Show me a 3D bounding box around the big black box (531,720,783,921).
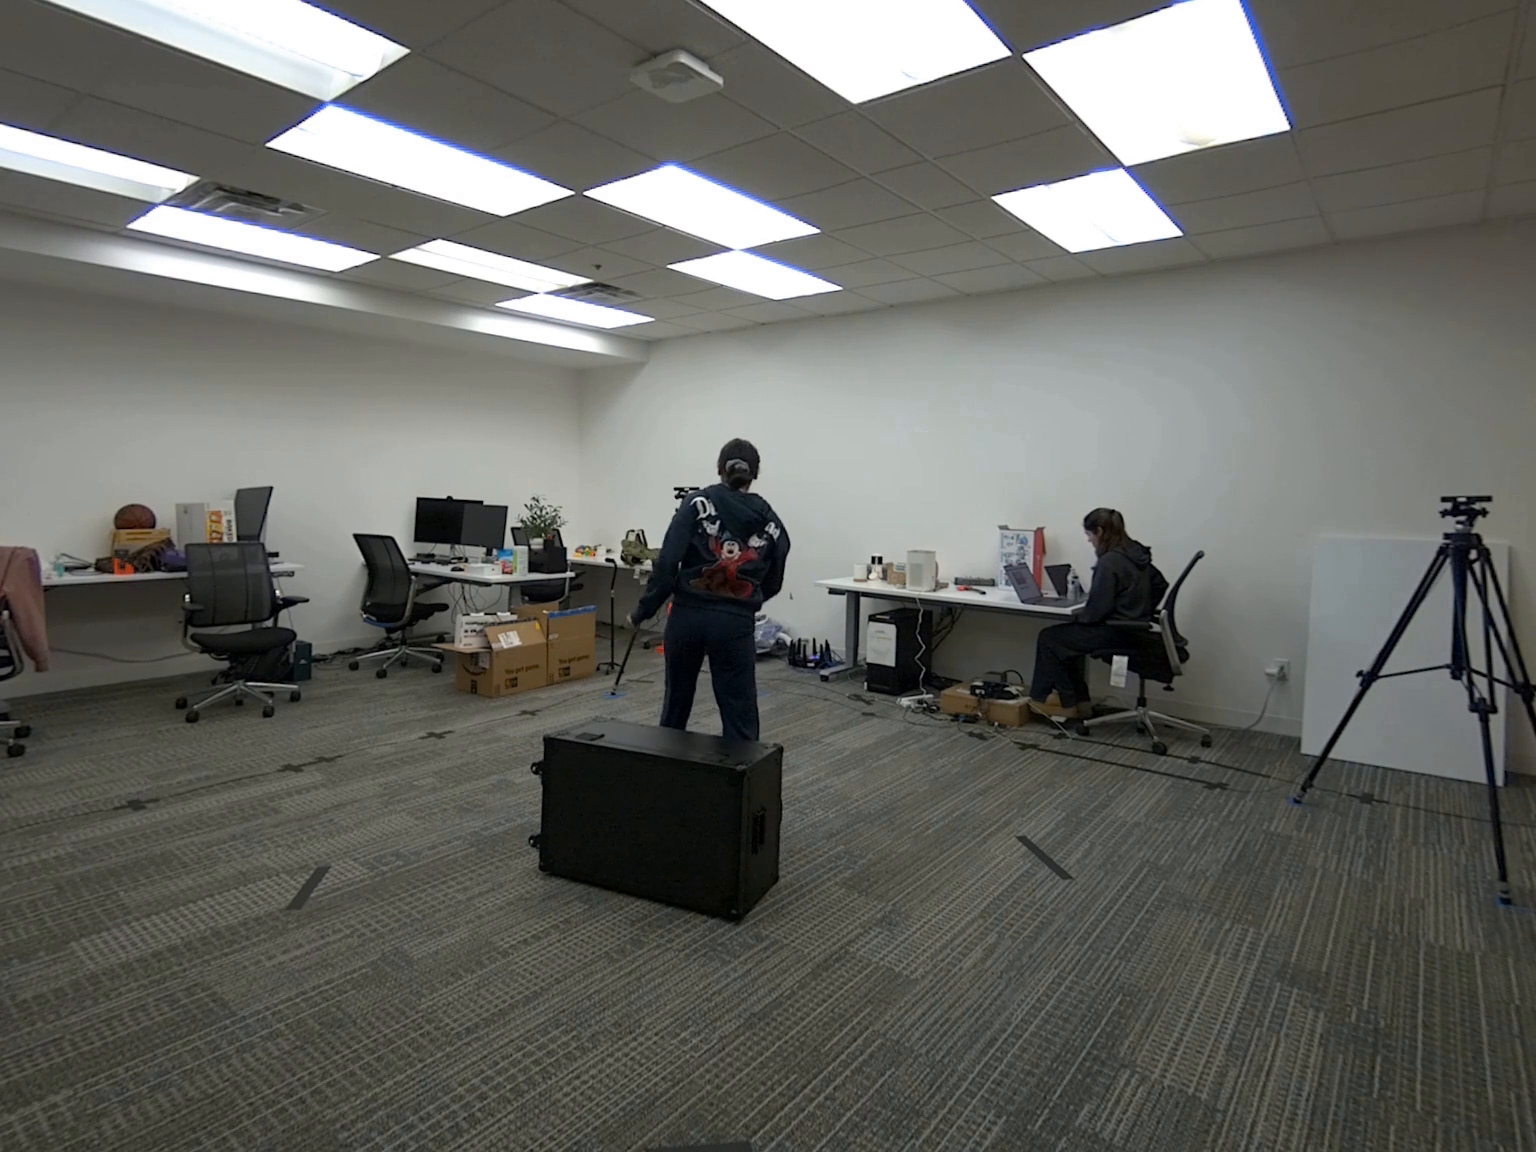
[{"bbox_3d":[-0.417,0.814,3.046,0.883,0.521,0.387,3,2,24],"label":"big black box"}]
